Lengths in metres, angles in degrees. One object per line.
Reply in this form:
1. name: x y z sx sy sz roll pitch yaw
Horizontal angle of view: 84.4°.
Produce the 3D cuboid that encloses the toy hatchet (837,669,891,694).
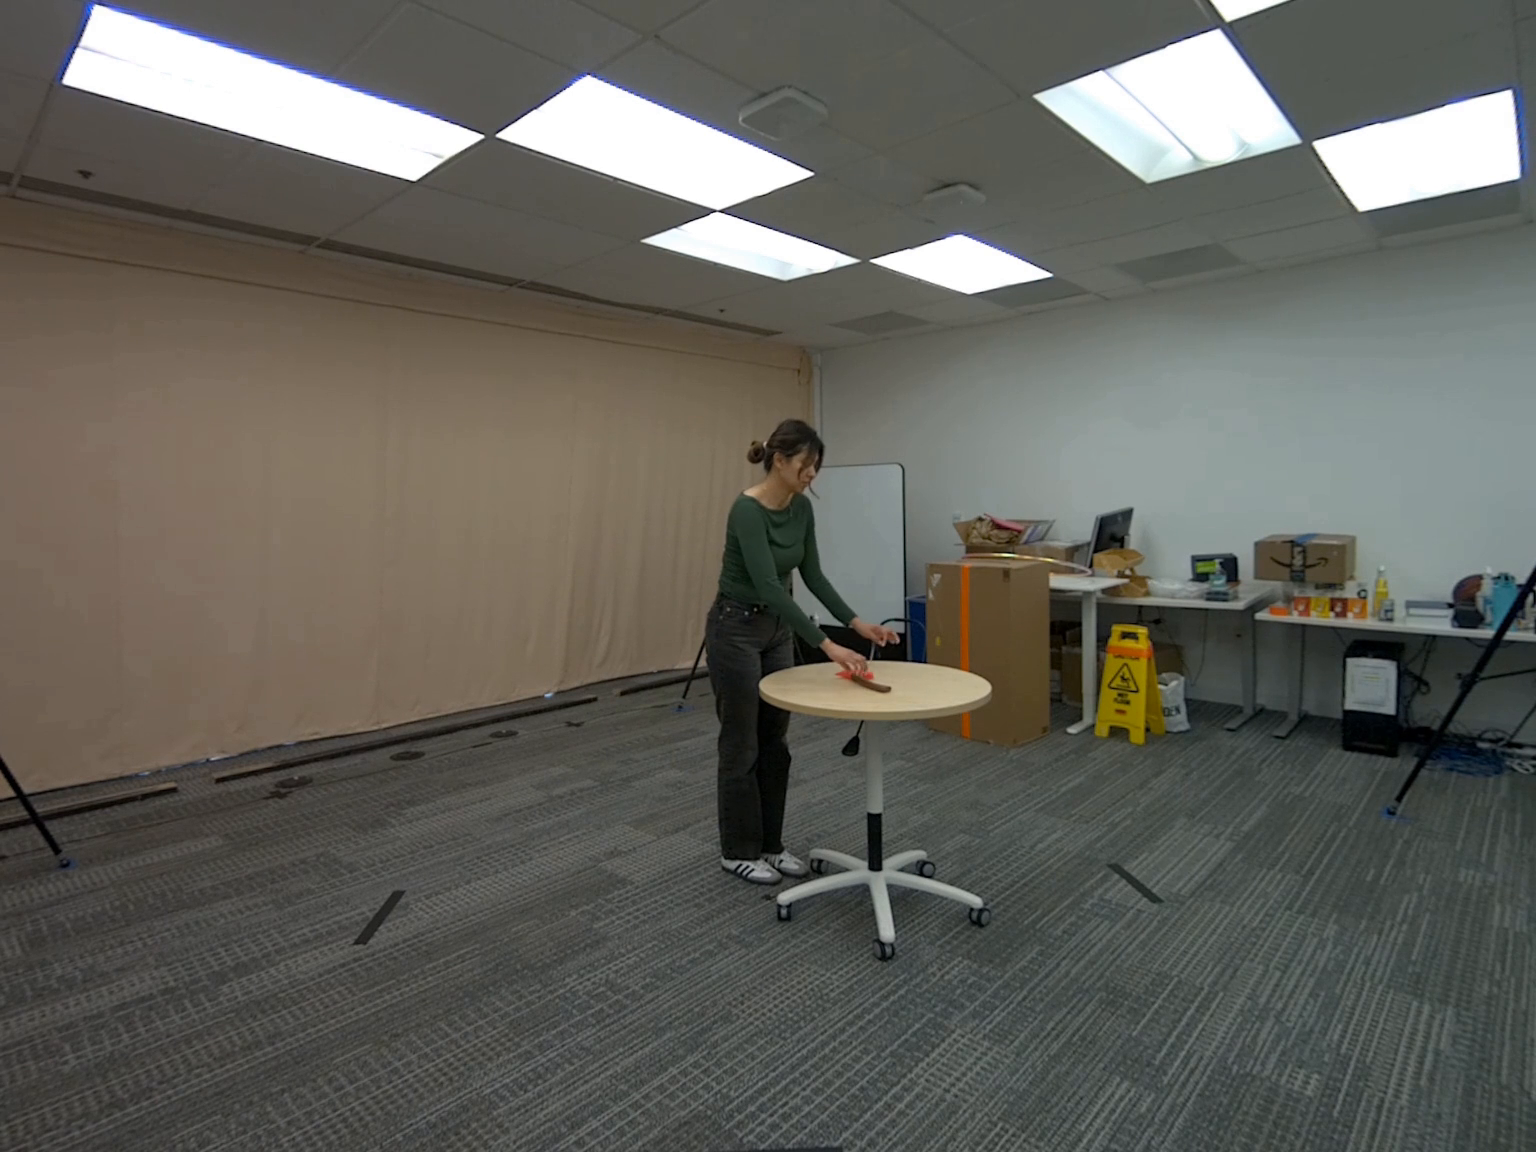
1. toy hatchet: 0.356 0.353 2.831 0.128 0.029 0.278 -1 5 -28
